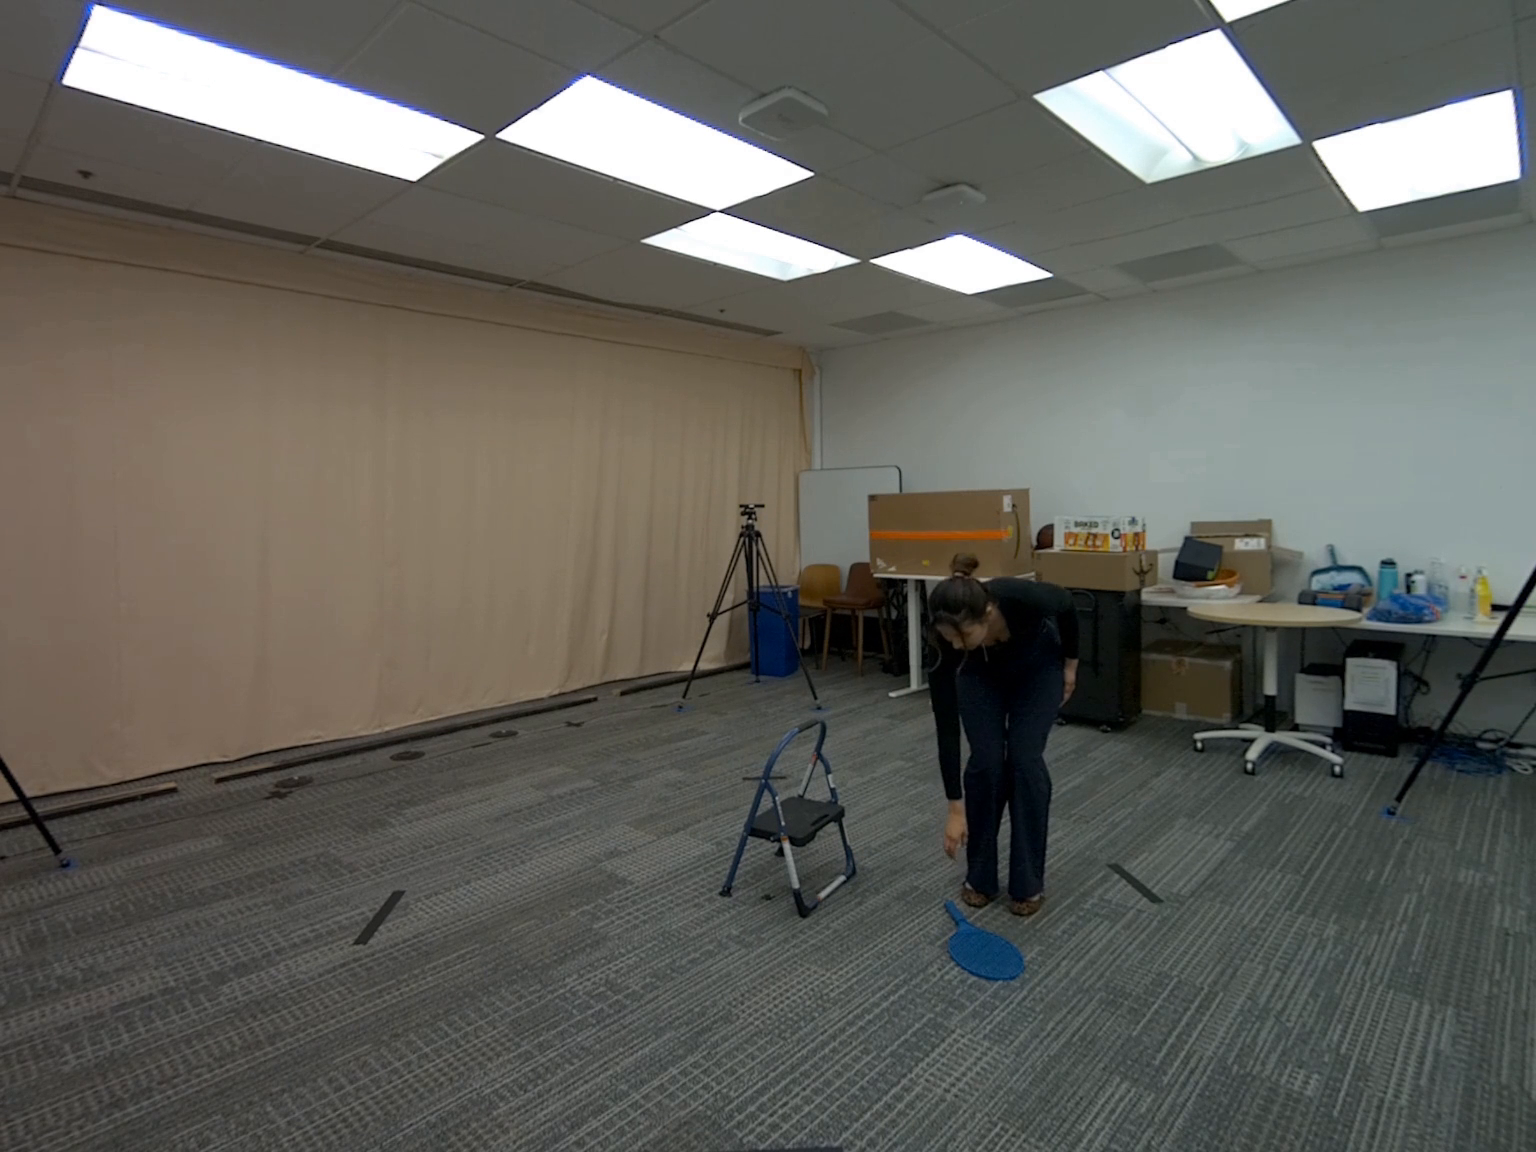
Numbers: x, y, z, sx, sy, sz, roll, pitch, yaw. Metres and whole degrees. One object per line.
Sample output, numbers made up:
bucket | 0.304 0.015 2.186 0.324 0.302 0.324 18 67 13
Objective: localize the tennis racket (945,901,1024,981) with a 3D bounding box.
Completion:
tennis racket | 0.651 1.139 2.655 0.212 0.031 0.438 -2 7 -10
